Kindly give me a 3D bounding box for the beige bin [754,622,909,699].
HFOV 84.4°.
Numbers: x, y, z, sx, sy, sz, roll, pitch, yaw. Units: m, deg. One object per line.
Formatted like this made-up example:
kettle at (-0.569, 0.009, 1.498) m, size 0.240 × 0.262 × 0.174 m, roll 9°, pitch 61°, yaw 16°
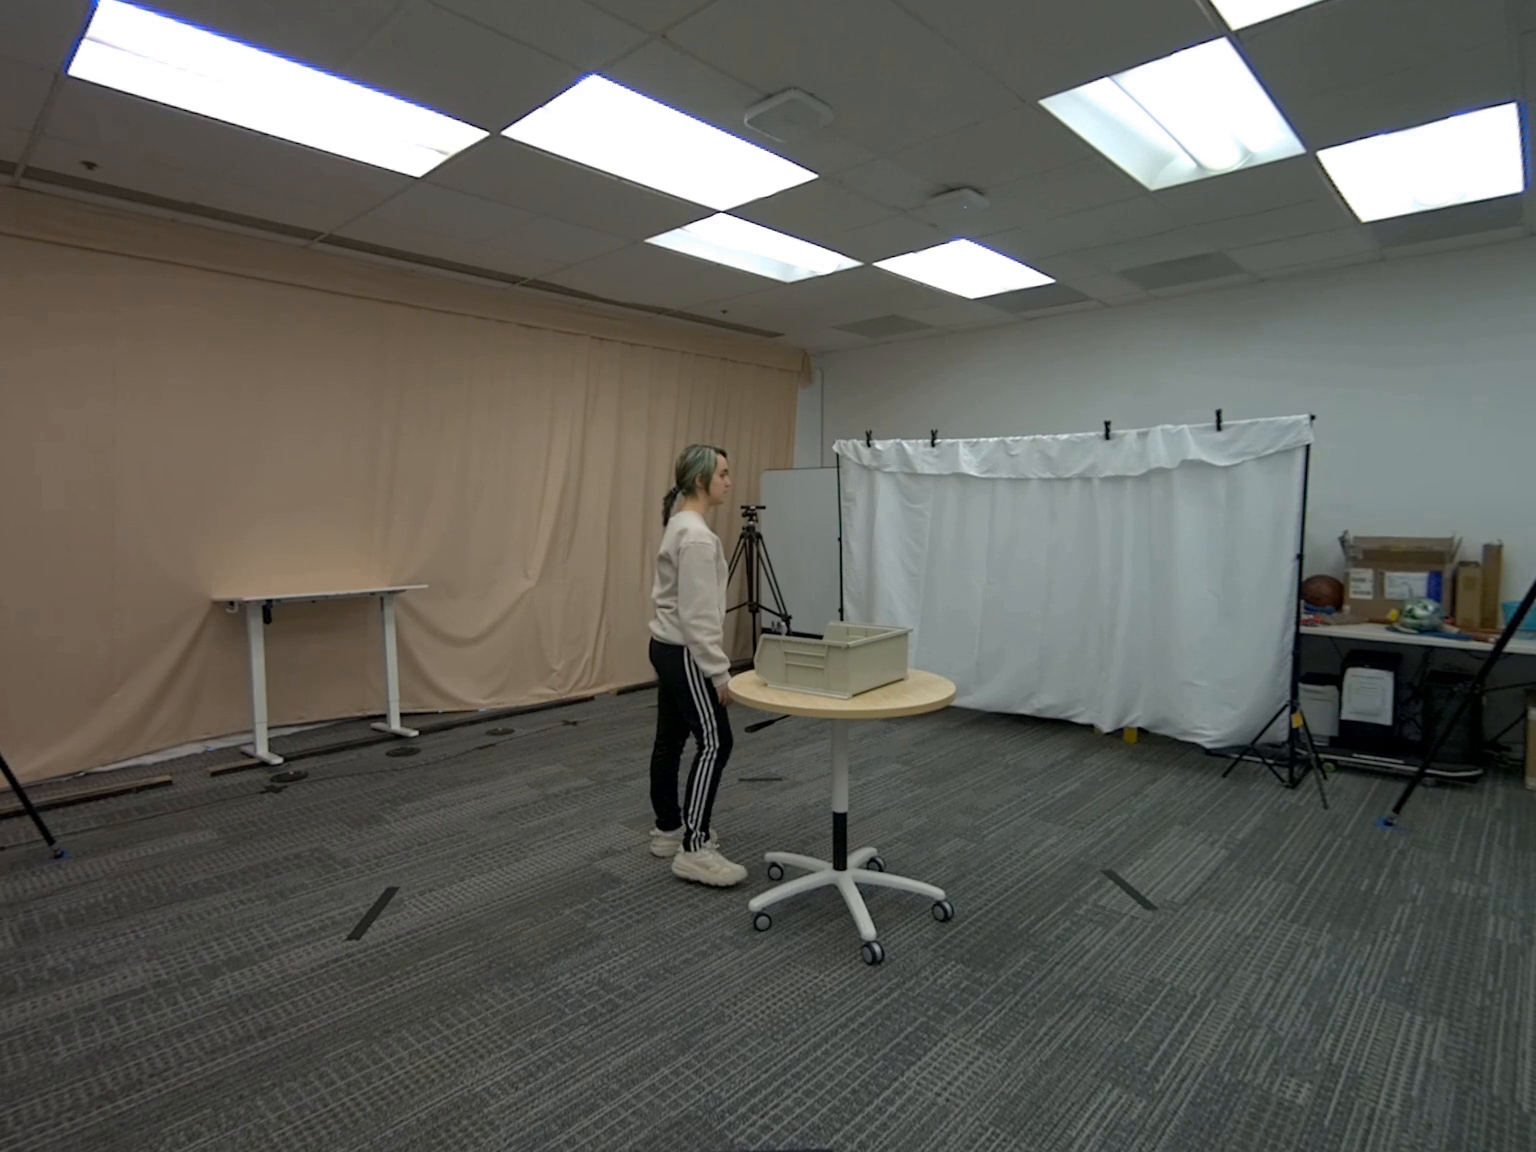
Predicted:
beige bin at (0.230, 0.278, 2.887) m, size 0.390 × 0.188 × 0.410 m, roll 4°, pitch 6°, yaw 38°
